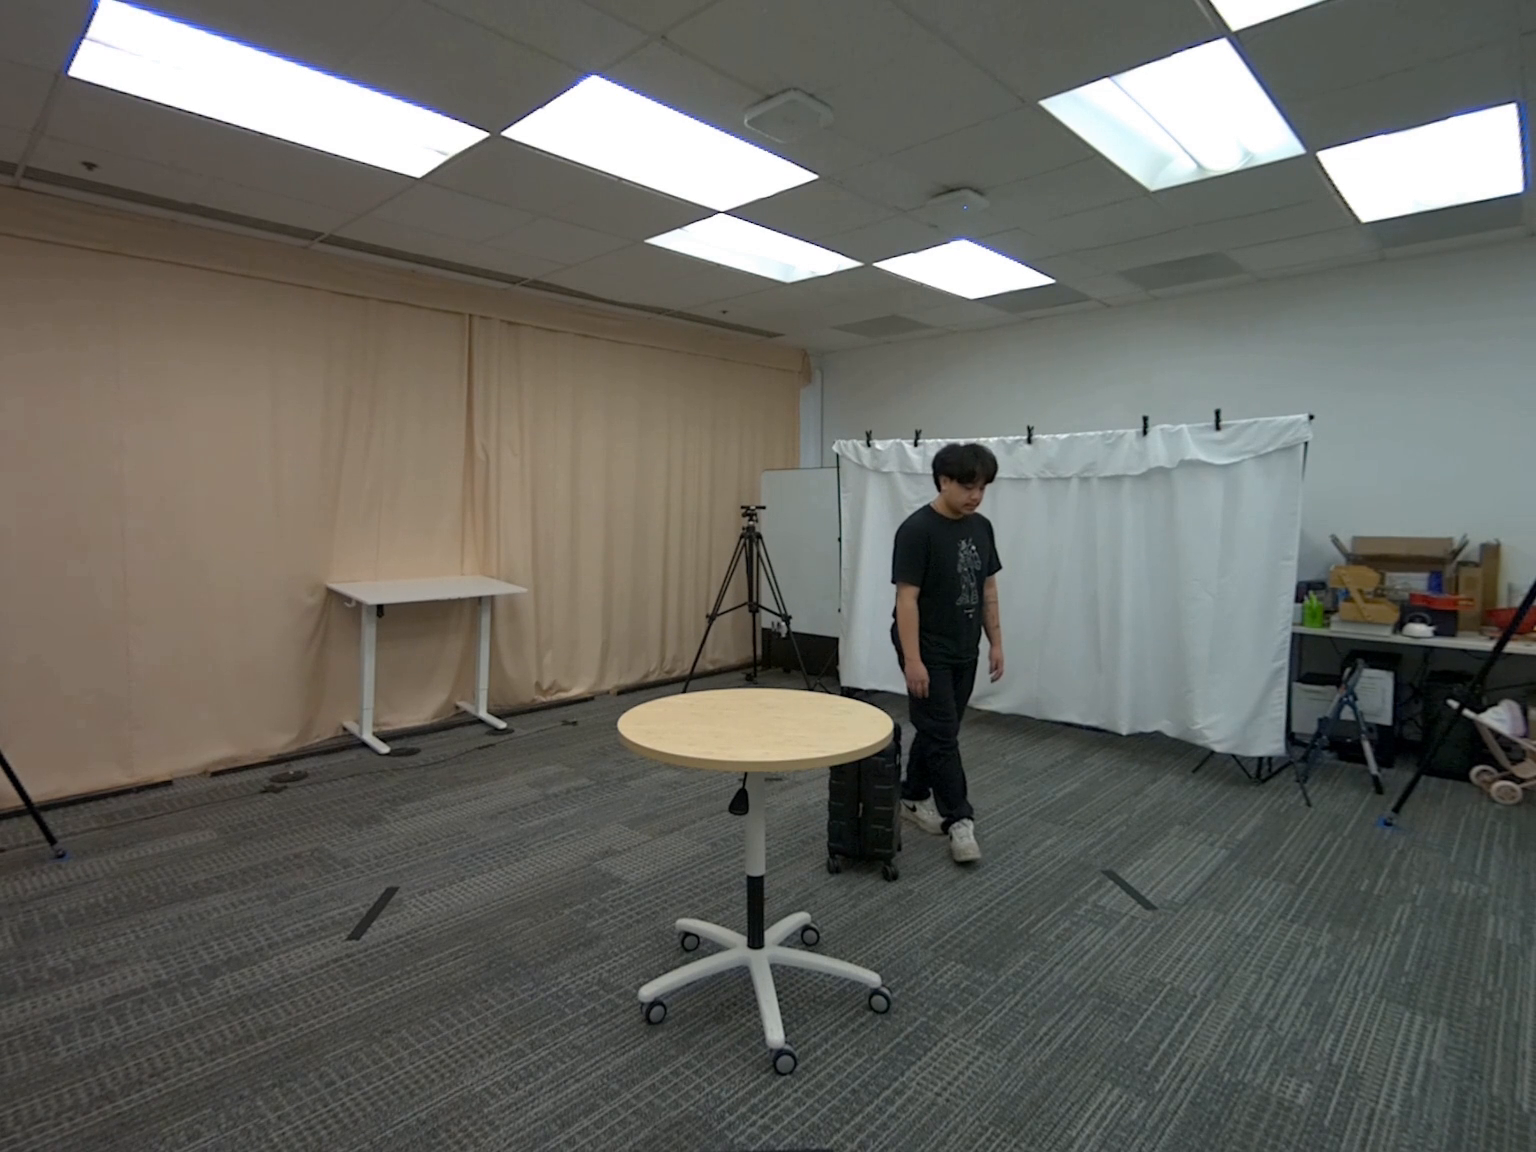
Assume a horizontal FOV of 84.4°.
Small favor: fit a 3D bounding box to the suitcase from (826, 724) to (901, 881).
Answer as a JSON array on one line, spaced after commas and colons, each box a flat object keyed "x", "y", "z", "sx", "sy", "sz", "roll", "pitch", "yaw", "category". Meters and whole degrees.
[{"x": 0.395, "y": 0.845, "z": 3.310, "sx": 0.253, "sy": 0.549, "sz": 0.369, "roll": 2, "pitch": 2, "yaw": 16, "category": "suitcase"}]
